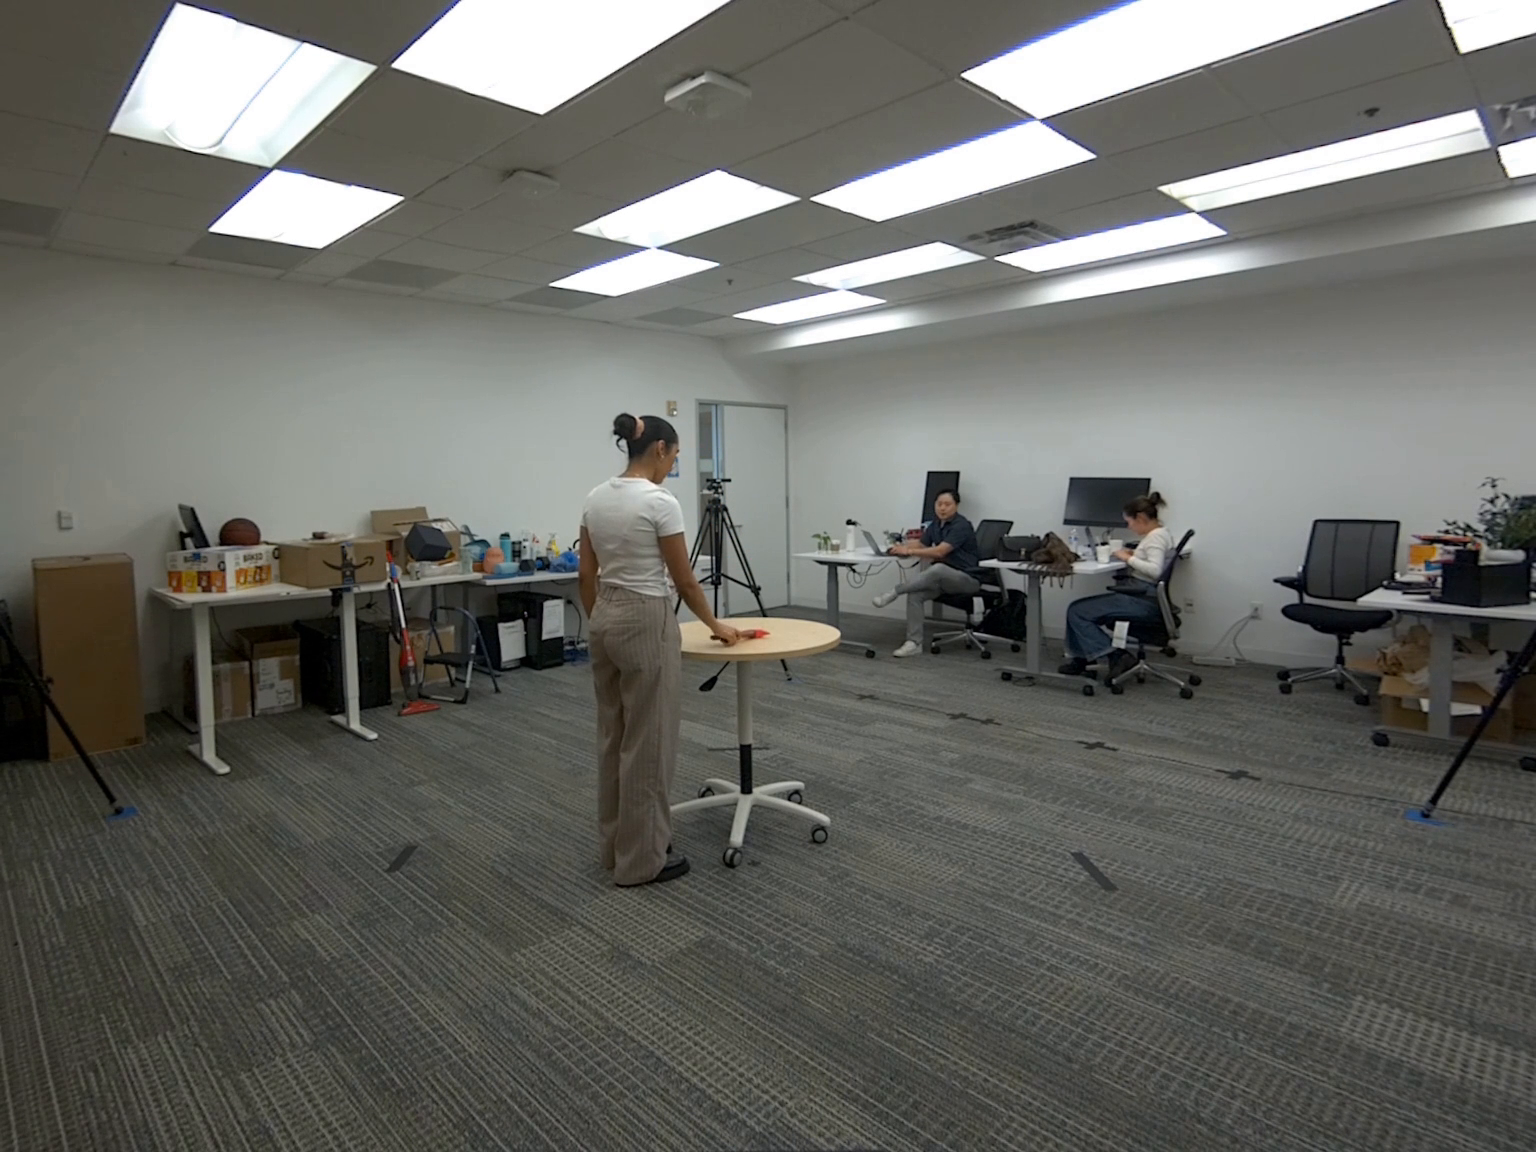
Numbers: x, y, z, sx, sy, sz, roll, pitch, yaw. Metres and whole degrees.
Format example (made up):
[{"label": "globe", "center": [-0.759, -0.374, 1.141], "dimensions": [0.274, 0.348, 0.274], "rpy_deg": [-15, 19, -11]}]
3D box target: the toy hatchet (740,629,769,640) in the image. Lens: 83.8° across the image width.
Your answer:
[{"label": "toy hatchet", "center": [-0.125, 0.222, 3.248], "dimensions": [0.263, 0.029, 0.134], "rpy_deg": [-3, 2, -38]}]
